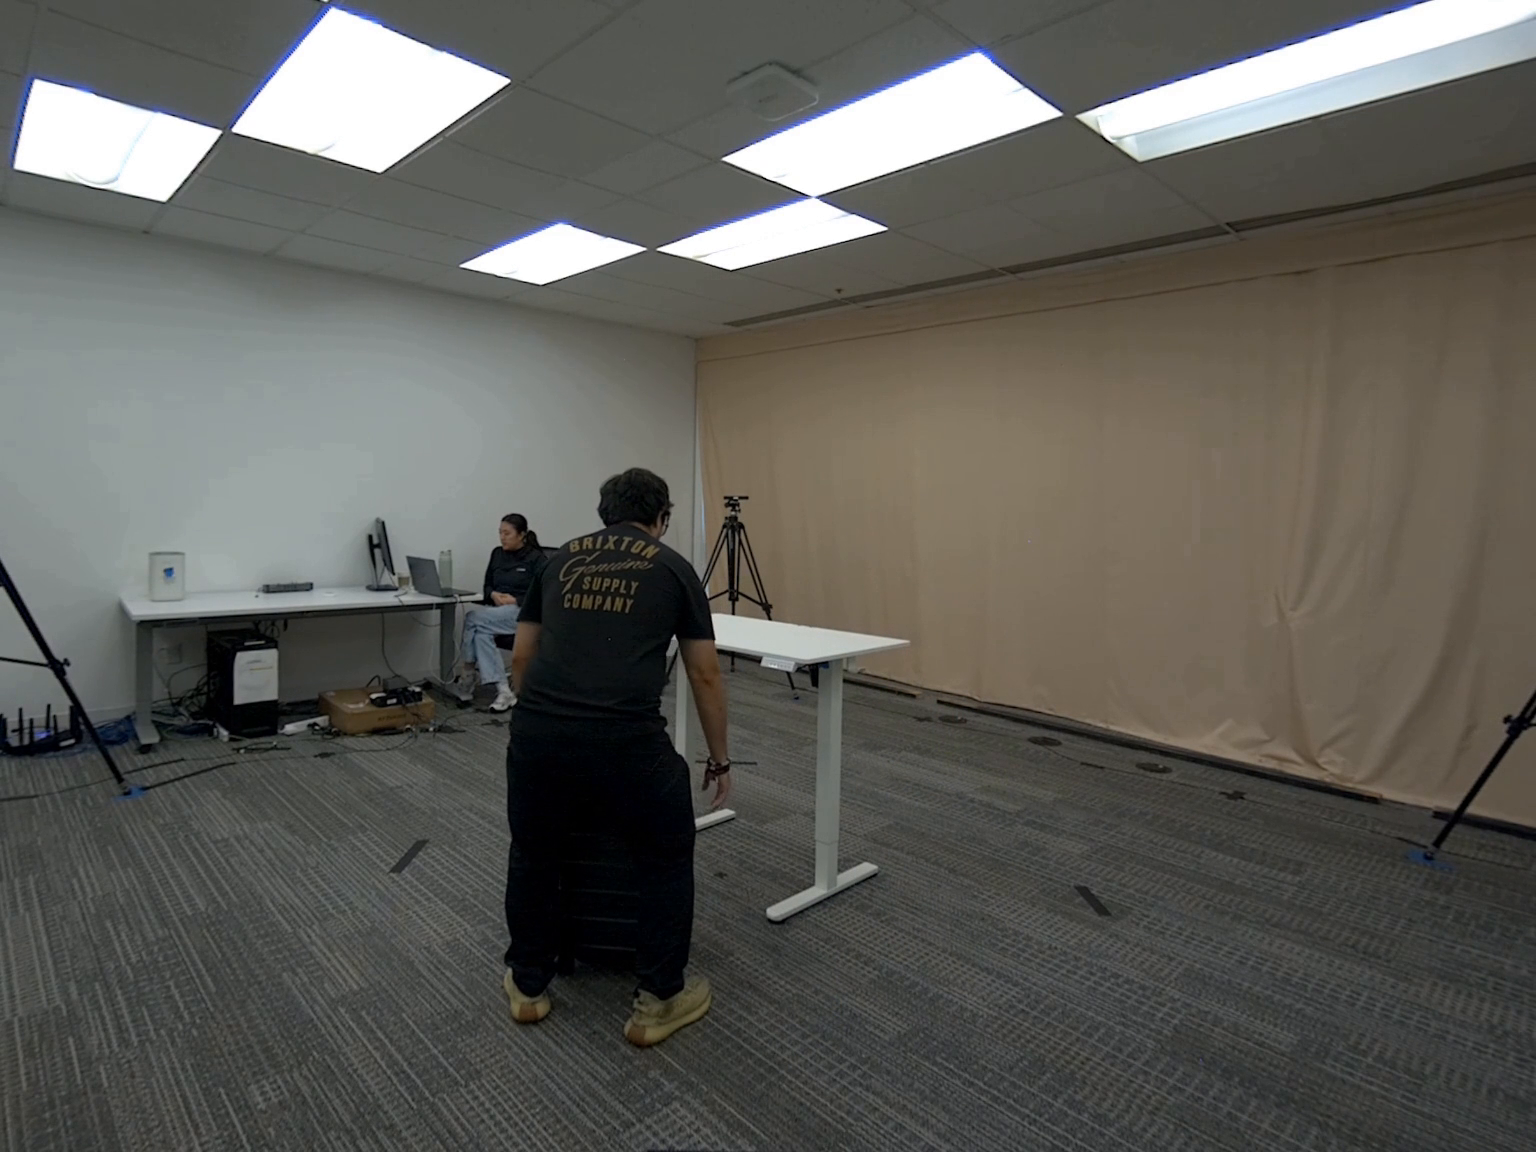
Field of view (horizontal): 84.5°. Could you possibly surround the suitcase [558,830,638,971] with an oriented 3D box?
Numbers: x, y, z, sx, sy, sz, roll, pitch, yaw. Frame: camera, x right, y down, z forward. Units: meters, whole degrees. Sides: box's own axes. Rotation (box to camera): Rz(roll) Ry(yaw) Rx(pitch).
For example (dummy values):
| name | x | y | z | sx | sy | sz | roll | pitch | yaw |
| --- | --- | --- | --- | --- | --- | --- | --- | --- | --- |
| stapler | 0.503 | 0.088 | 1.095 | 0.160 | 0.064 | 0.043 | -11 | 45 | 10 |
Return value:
| name | x | y | z | sx | sy | sz | roll | pitch | yaw |
| --- | --- | --- | --- | --- | --- | --- | --- | --- | --- |
| suitcase | -0.447 | 0.878 | 2.501 | 0.377 | 0.547 | 0.248 | 1 | 4 | 6 |
